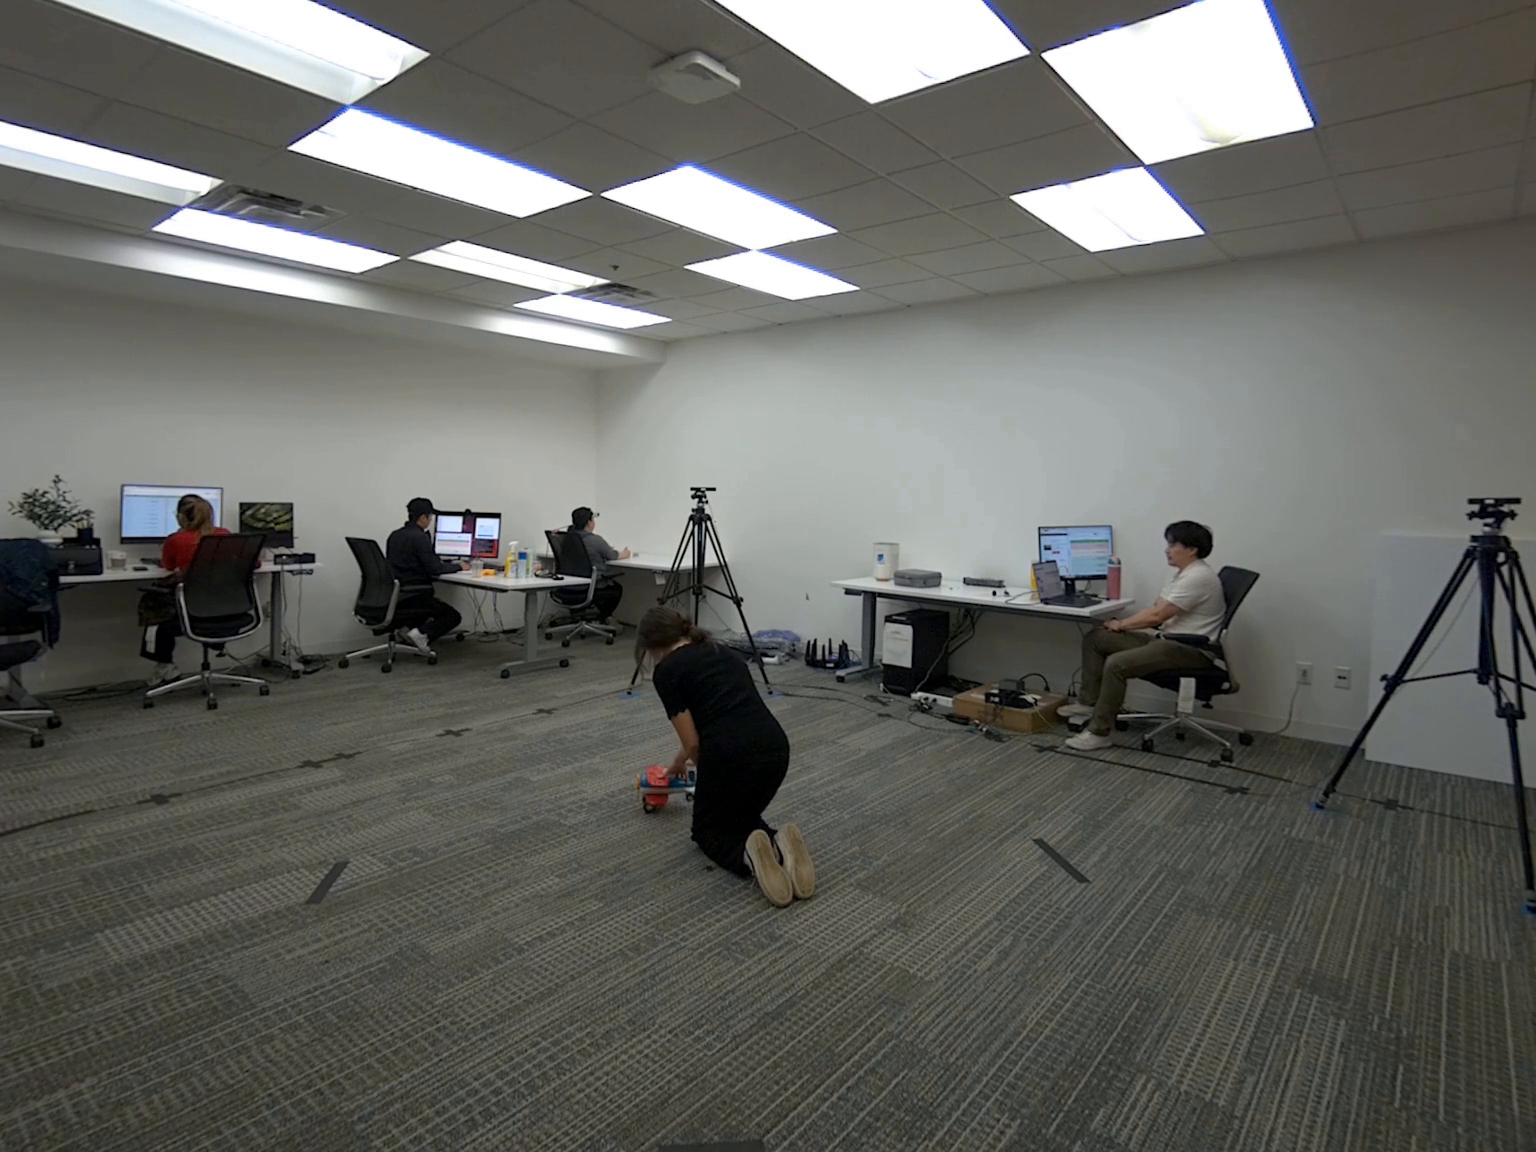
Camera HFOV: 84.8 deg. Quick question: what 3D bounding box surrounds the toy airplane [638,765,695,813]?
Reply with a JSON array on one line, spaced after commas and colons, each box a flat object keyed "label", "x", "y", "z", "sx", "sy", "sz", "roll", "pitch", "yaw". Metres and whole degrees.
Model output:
[{"label": "toy airplane", "x": -0.460, "y": 0.917, "z": 3.698, "sx": 0.253, "sy": 0.155, "sz": 0.258, "roll": -15, "pitch": 8, "yaw": -34}]
